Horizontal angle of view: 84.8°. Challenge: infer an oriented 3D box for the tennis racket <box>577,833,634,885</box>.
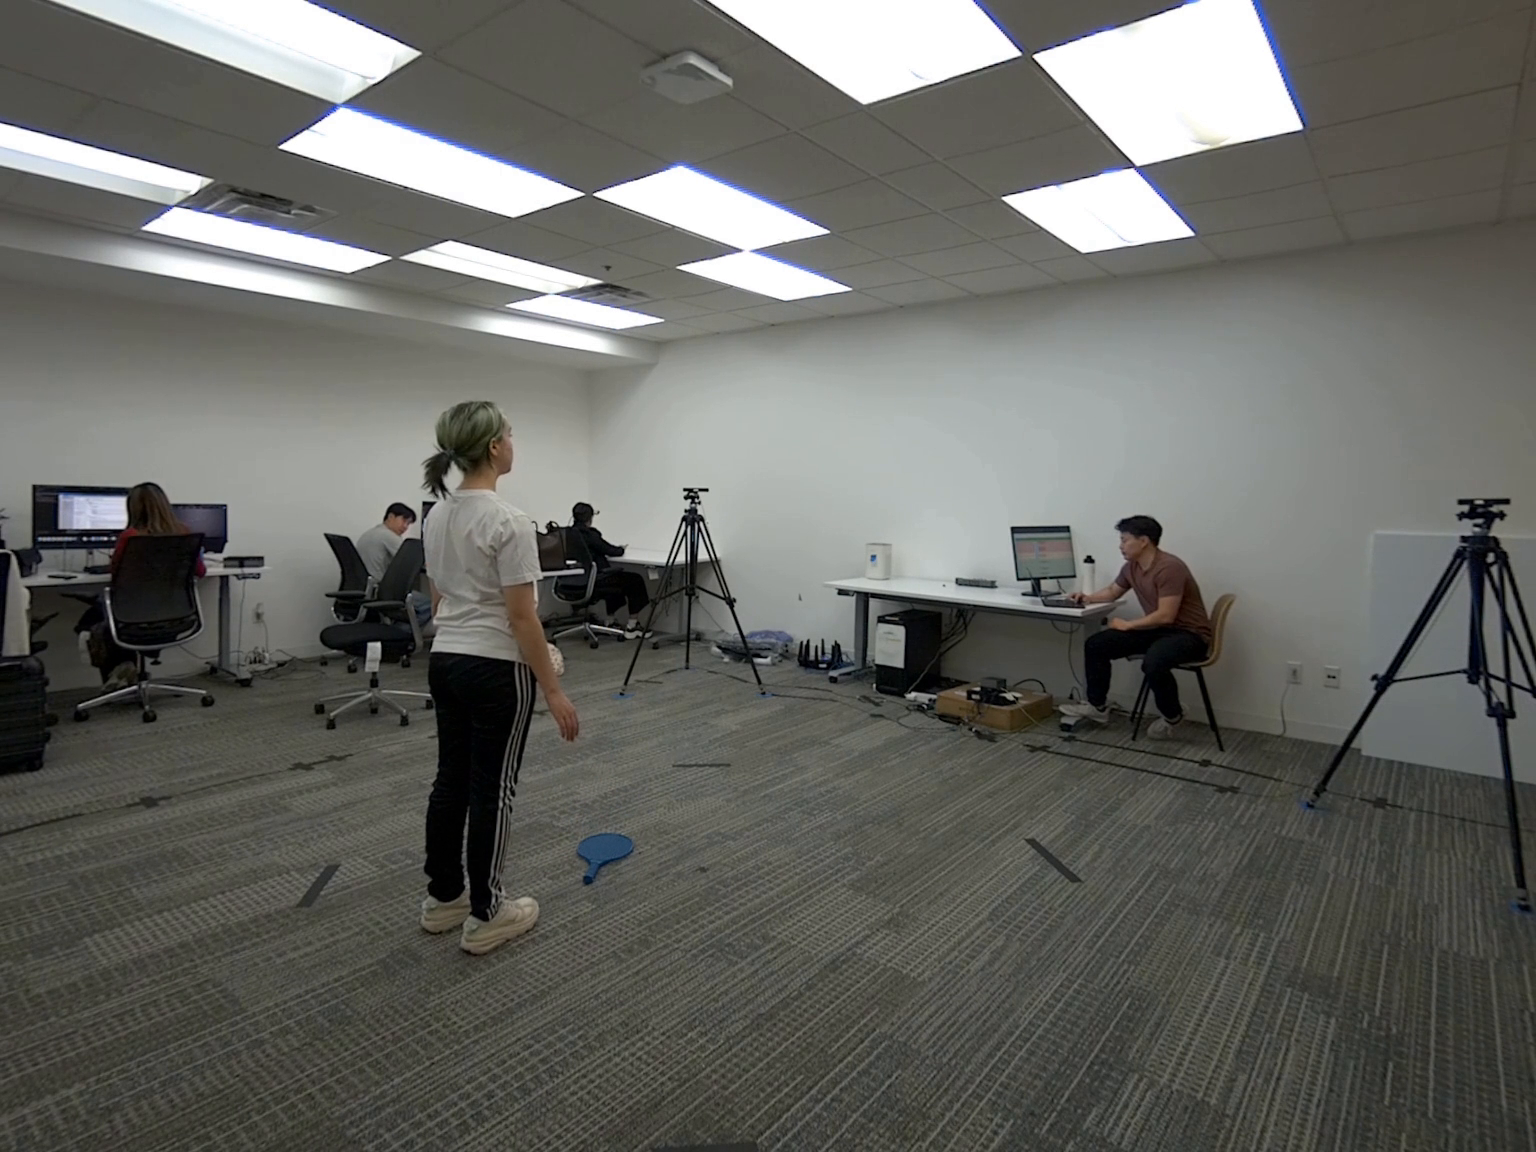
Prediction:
[{"bbox_3d":[-0.633,1.041,3.180,0.214,0.031,0.434,1,4,-1],"label":"tennis racket"}]
